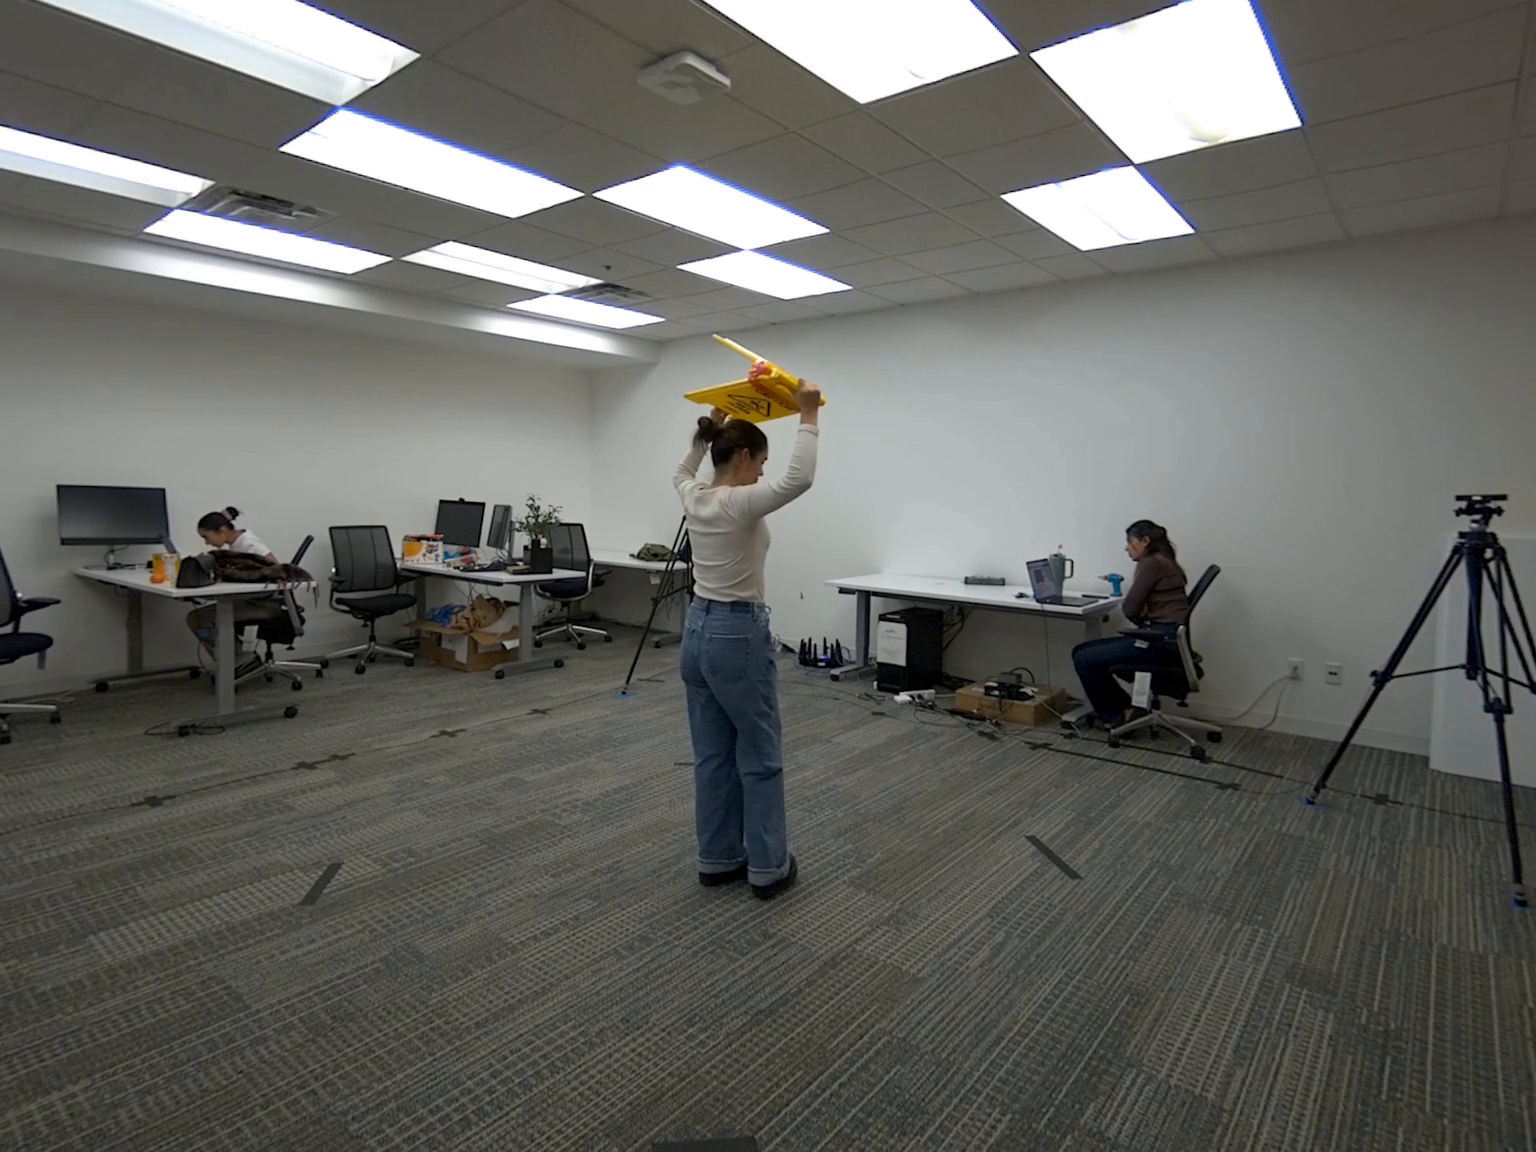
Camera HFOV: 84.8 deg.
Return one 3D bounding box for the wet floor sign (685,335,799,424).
[{"bbox_3d":[-0.030,-0.668,2.954,0.273,0.289,0.668,26,1,-28],"label":"wet floor sign"}]
